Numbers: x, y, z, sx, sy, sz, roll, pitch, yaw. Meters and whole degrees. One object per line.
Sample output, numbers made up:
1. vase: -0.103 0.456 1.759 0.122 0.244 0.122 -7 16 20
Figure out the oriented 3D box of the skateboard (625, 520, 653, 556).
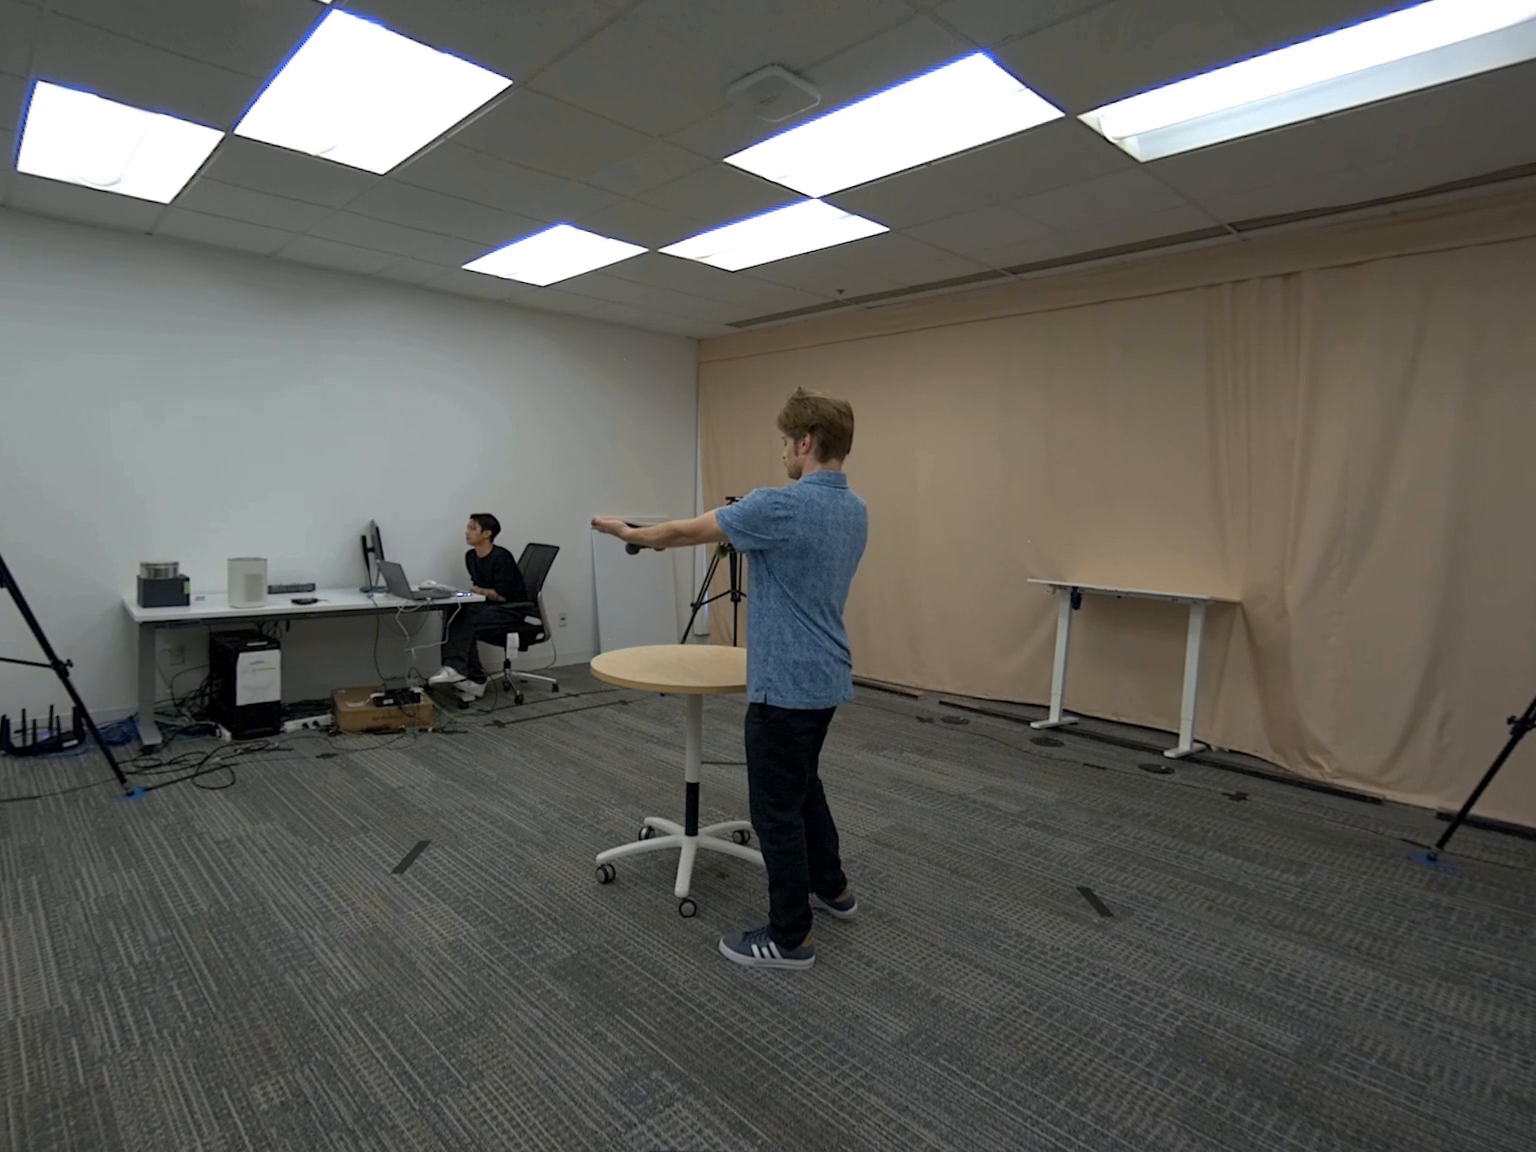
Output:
1. skateboard: -0.264 -0.124 2.934 0.767 0.111 0.197 0 -5 -41
